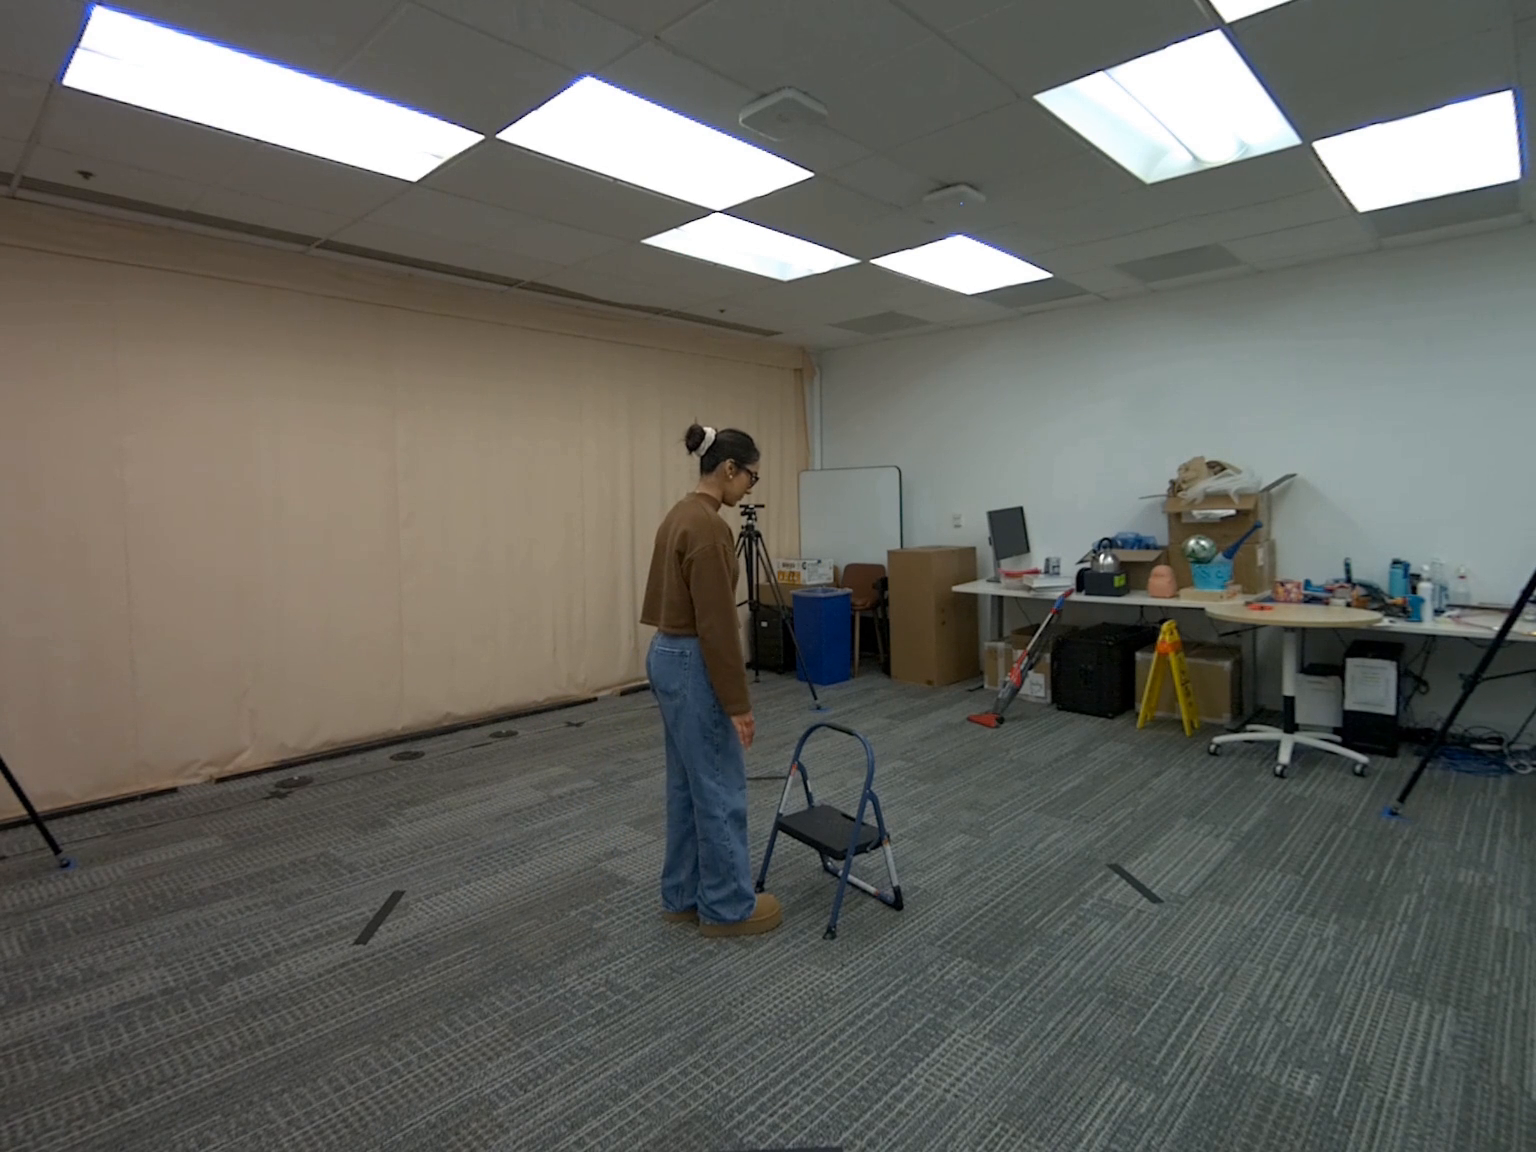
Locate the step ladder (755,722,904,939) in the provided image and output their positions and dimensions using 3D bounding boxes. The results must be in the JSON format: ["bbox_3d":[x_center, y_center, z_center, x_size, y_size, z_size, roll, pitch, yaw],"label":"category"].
[{"bbox_3d":[0.204,0.838,2.939,0.339,0.605,0.444,-3,4,-35],"label":"step ladder"}]
